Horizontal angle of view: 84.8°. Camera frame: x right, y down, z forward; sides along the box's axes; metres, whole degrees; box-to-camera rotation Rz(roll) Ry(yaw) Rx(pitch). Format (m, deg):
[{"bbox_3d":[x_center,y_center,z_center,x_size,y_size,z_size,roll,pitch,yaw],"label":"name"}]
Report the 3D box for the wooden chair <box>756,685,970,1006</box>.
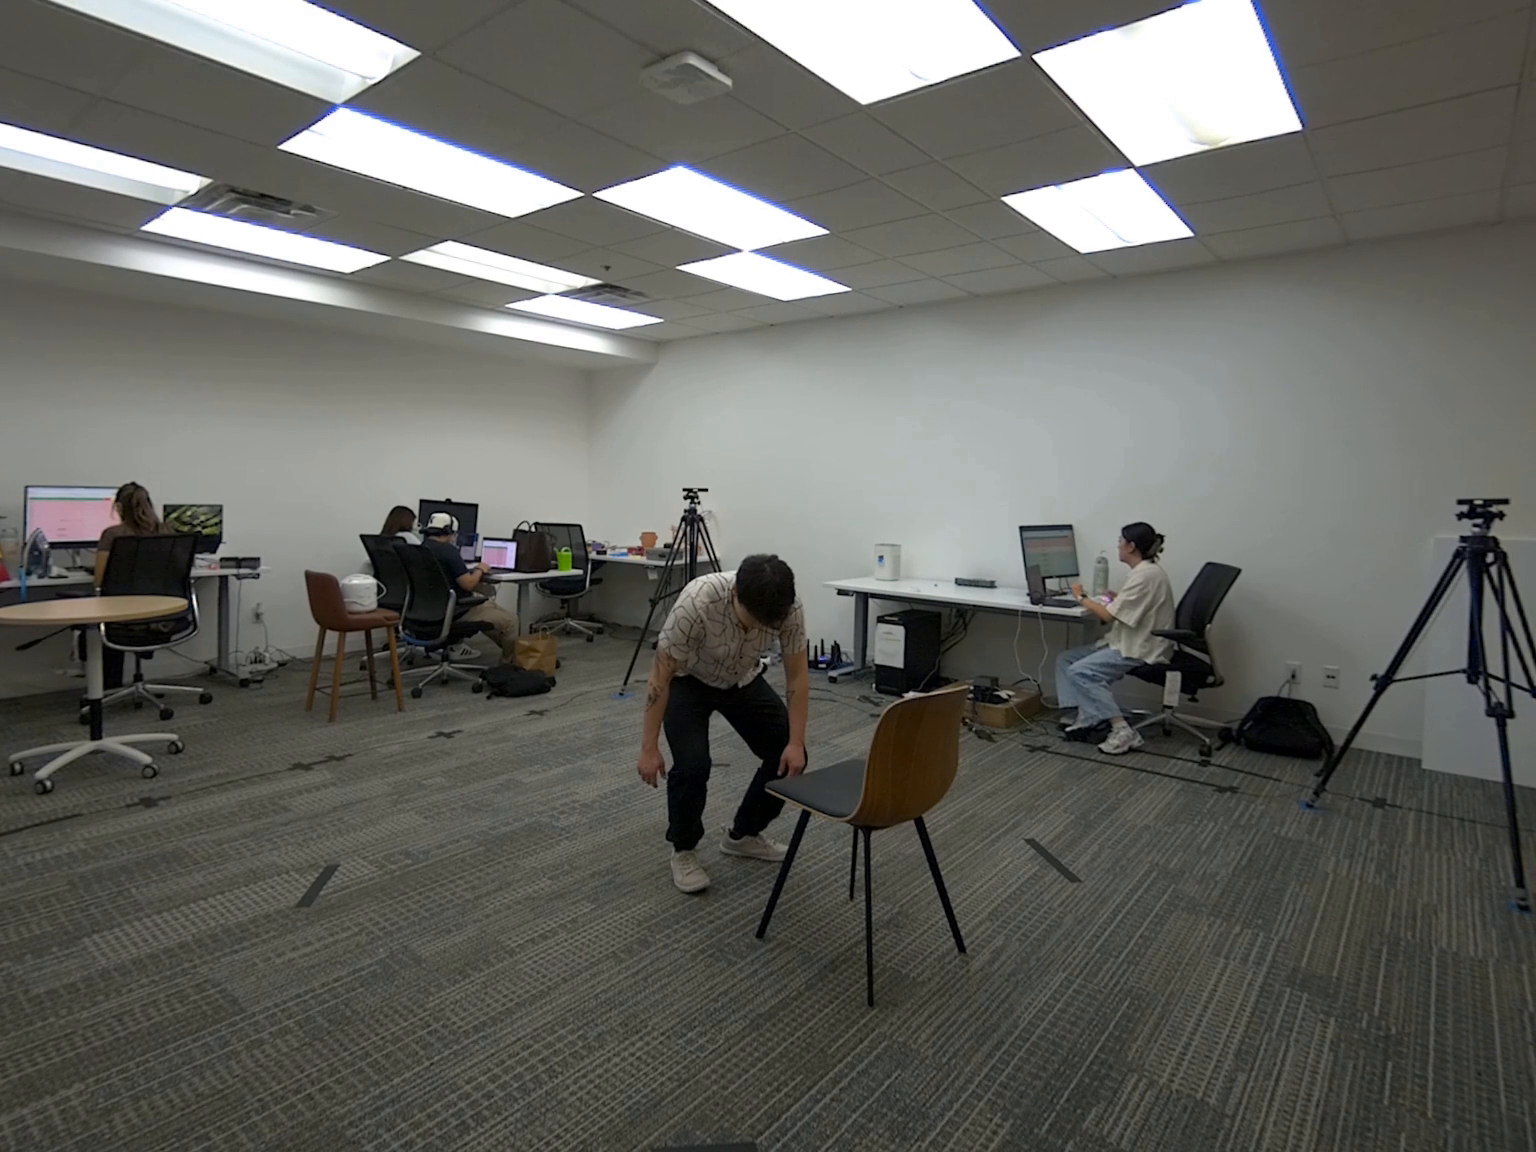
[{"bbox_3d":[0.282,0.705,2.586,0.463,0.872,0.542,-2,9,-43],"label":"wooden chair"}]
